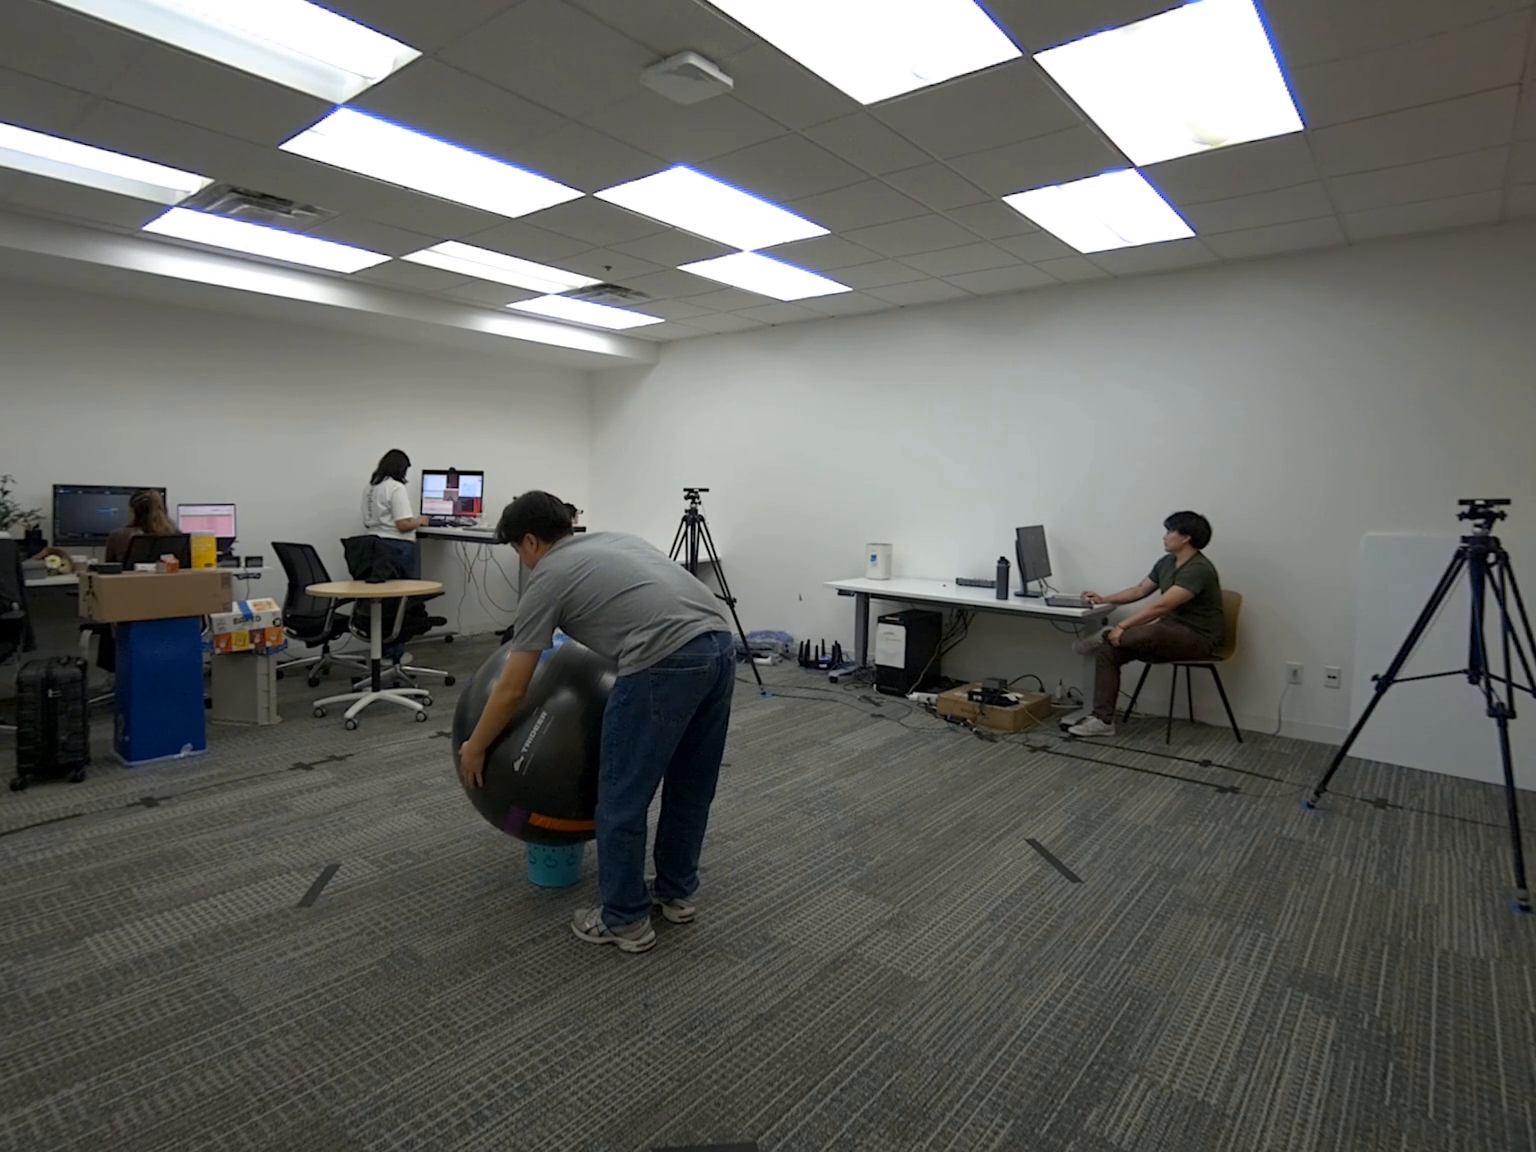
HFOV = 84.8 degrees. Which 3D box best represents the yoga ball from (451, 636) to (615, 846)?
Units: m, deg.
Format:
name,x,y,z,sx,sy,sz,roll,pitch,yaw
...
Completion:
name,x,y,z,sx,sy,sz,roll,pitch,yaw
yoga ball,-0.748,0.559,3.017,0.757,0.755,0.762,1,4,-2
